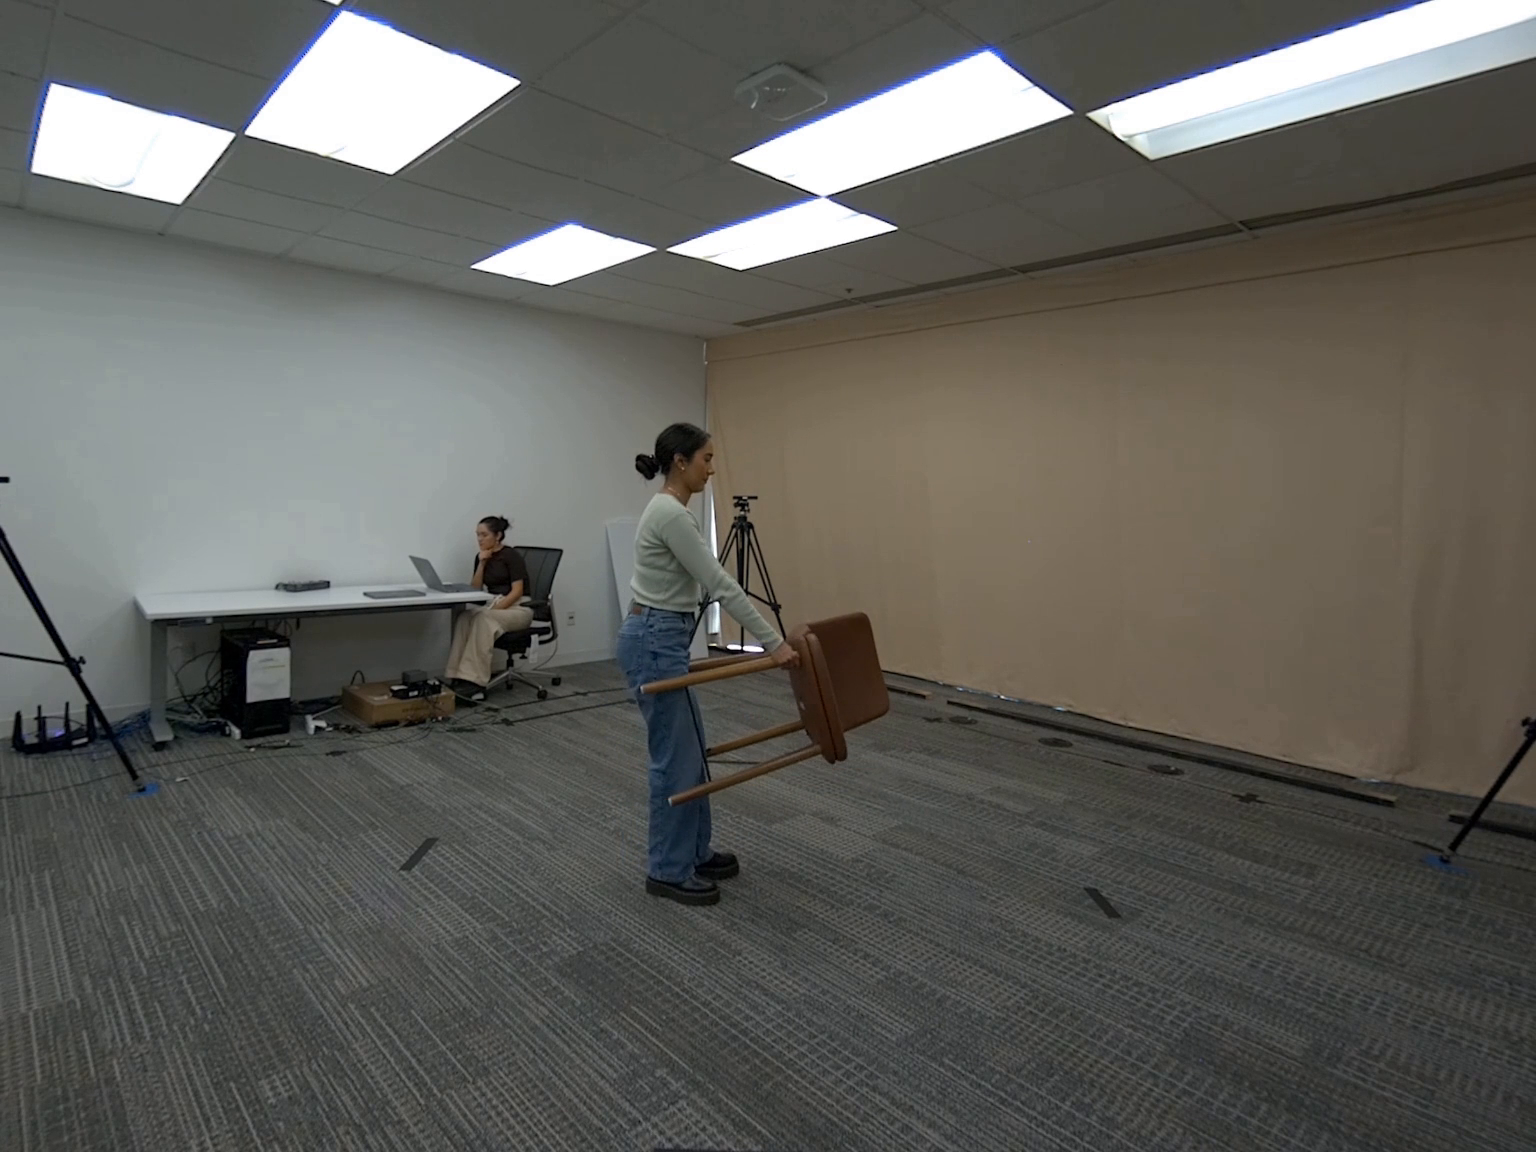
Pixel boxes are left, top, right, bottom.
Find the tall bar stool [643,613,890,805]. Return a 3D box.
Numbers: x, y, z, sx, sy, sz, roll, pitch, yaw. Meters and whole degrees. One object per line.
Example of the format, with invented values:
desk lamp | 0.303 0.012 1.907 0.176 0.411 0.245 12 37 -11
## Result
tall bar stool | 0.025 0.445 2.991 0.887 0.456 0.469 -14 3 -4
